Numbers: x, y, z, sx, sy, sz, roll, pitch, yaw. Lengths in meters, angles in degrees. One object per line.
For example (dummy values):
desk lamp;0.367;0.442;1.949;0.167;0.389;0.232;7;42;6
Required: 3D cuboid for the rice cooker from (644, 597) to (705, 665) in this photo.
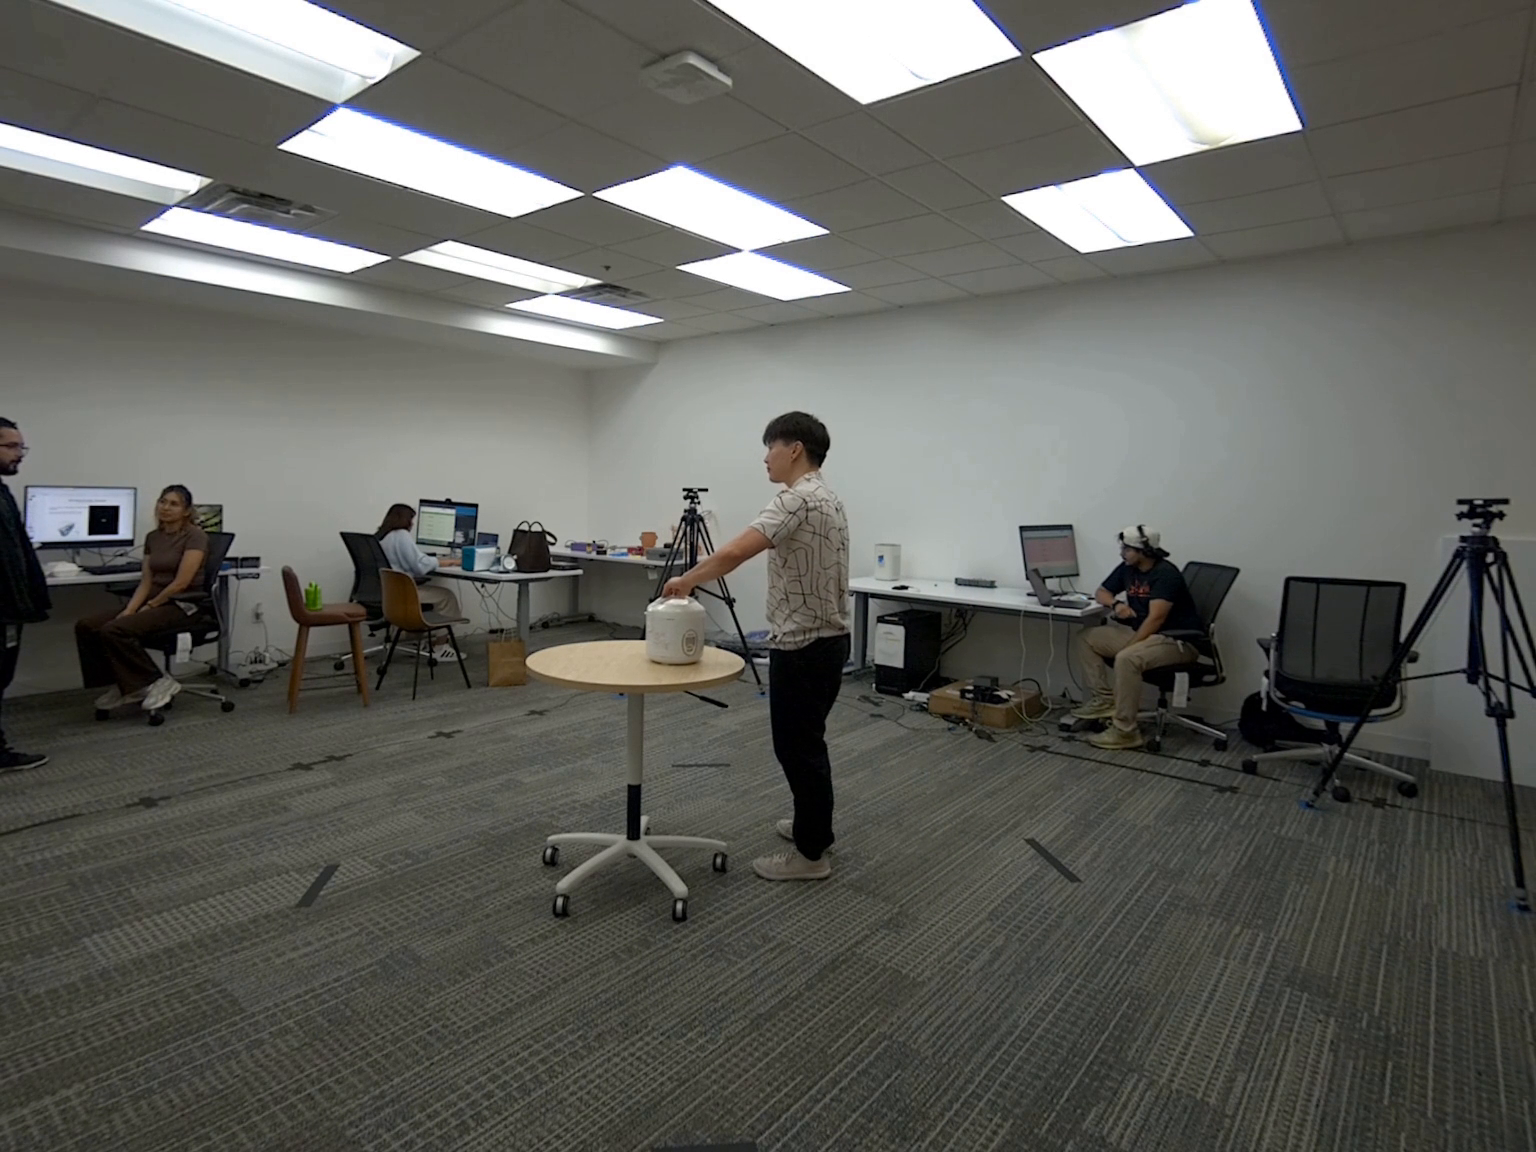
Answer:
rice cooker;-0.334;0.180;3.010;0.214;0.232;0.224;-2;5;-34
